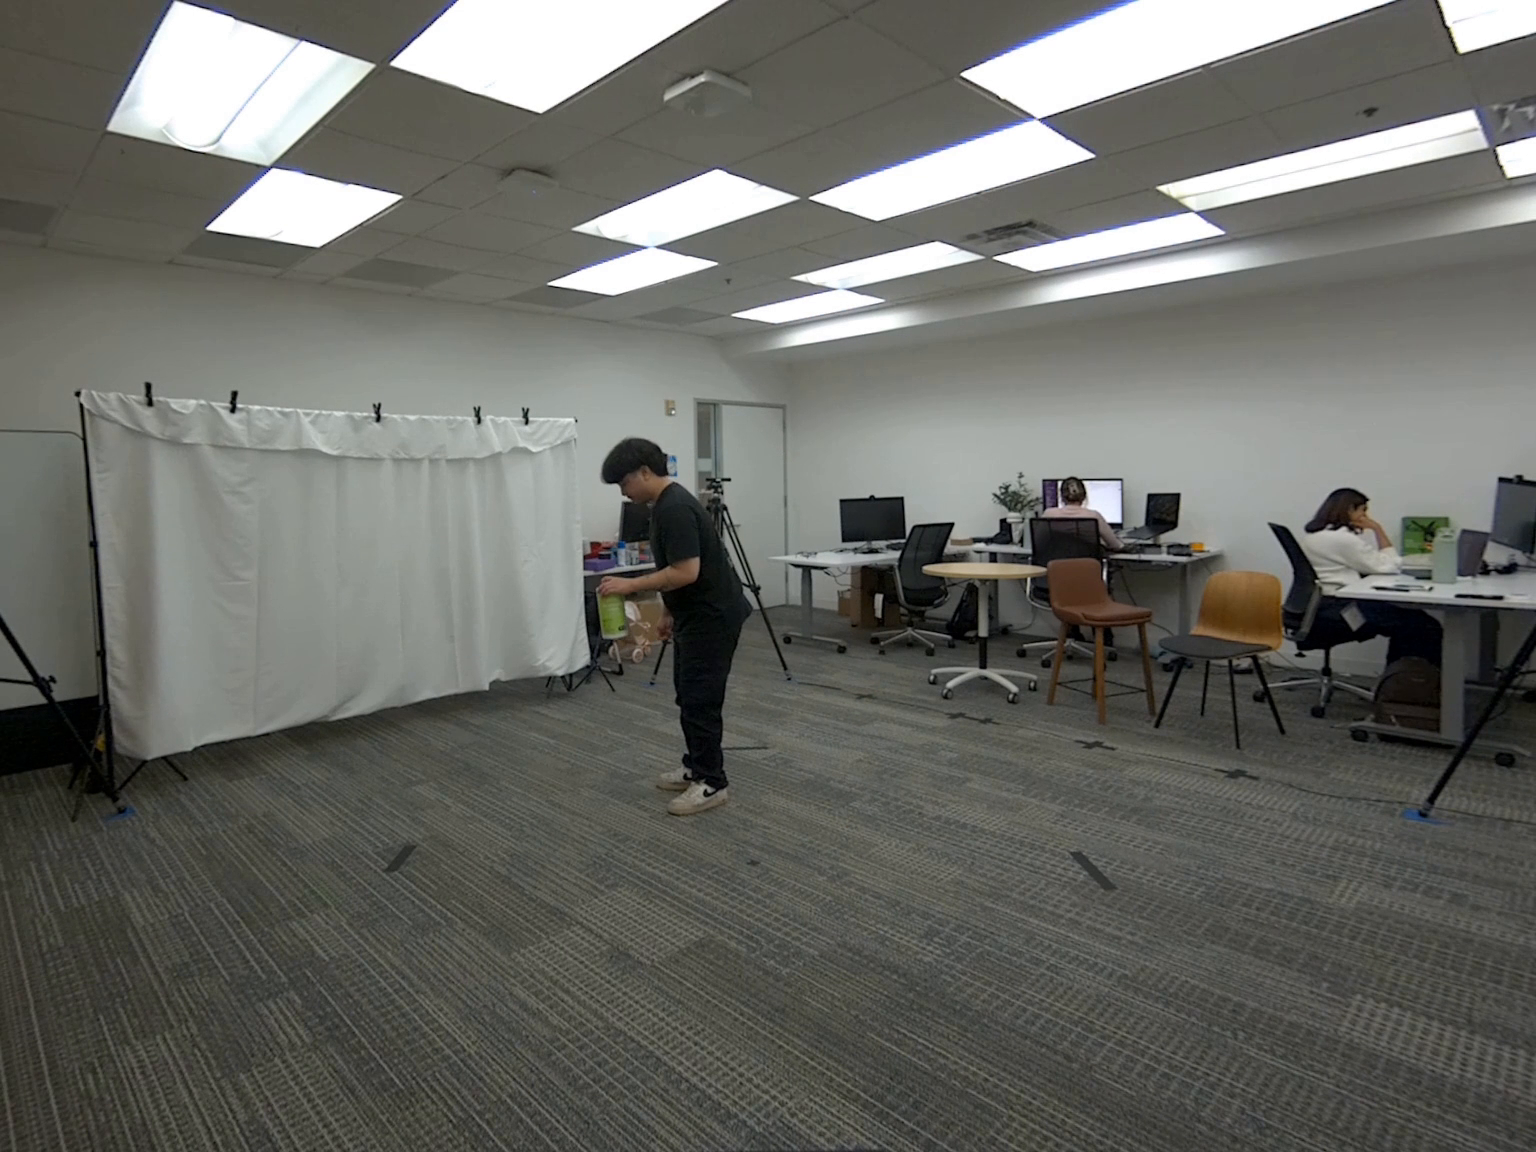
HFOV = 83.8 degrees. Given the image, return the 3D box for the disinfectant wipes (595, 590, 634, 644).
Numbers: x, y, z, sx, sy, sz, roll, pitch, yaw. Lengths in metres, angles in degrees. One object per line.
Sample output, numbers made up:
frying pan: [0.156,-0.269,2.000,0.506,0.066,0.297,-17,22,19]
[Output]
disinfectant wipes: [-0.645,0.154,3.597,0.118,0.217,0.118,-7,4,-1]
